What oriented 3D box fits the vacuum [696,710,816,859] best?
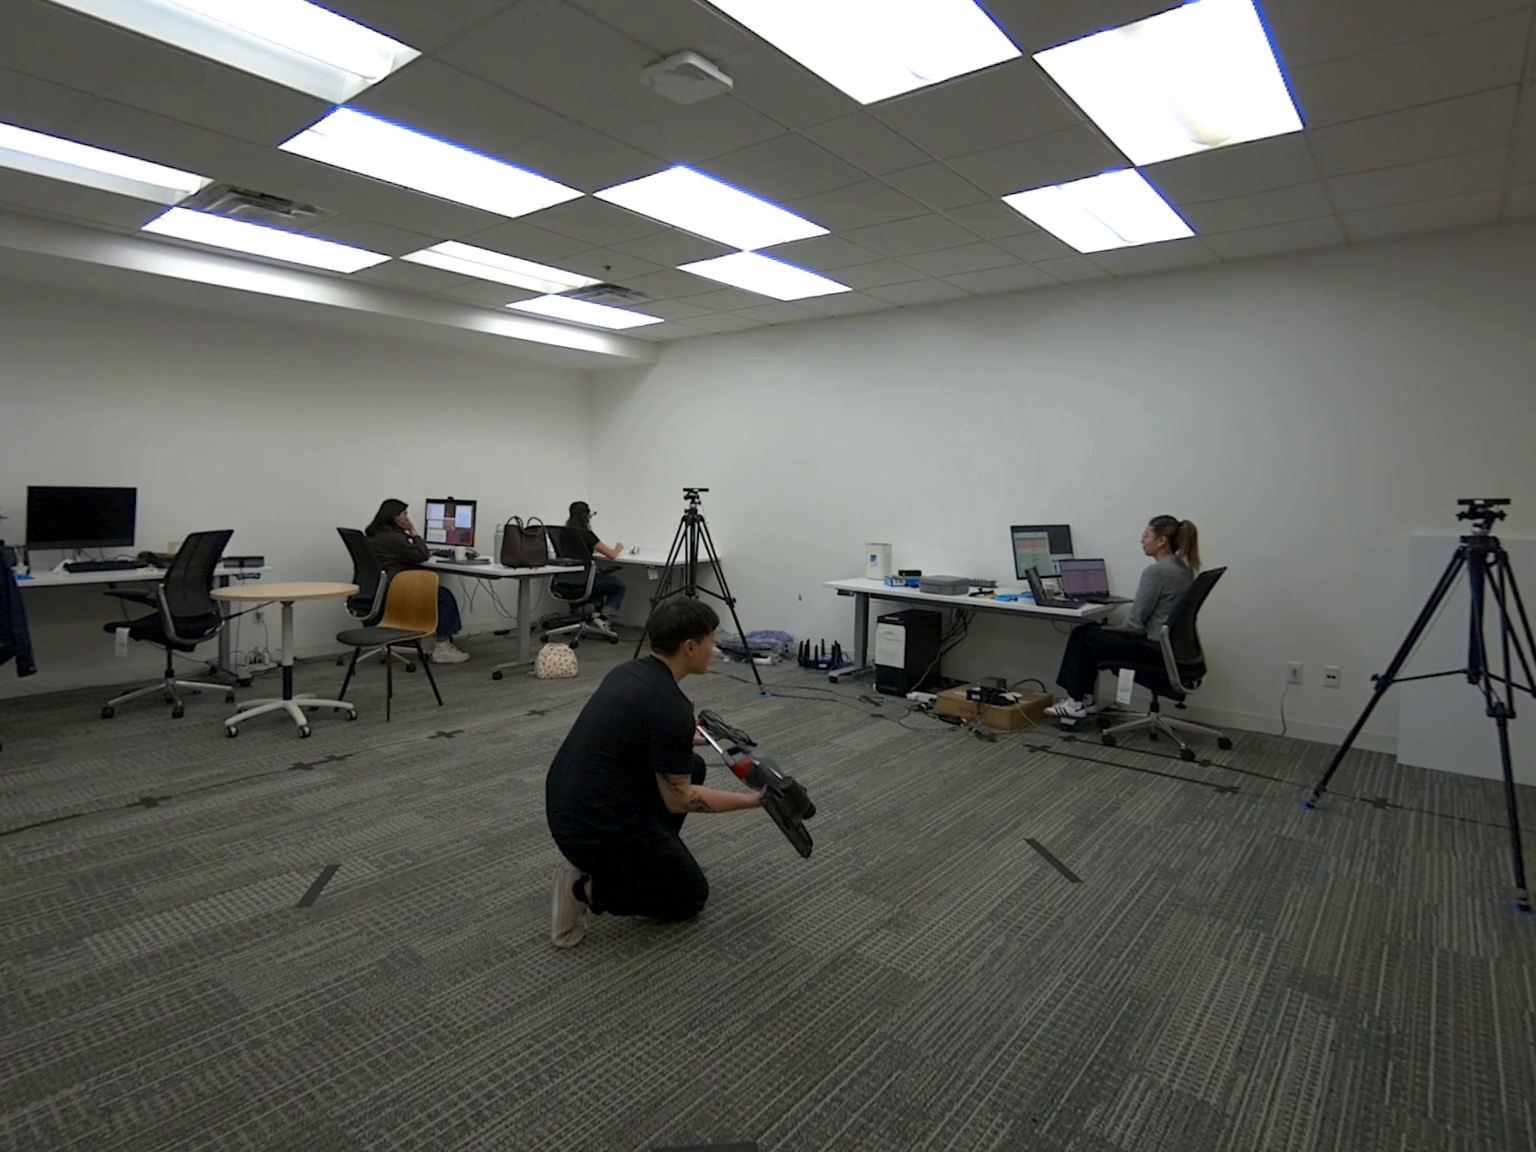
[{"bbox_3d":[-0.124,0.596,2.952,0.143,0.246,1.079,-35,20,-11],"label":"vacuum"}]
